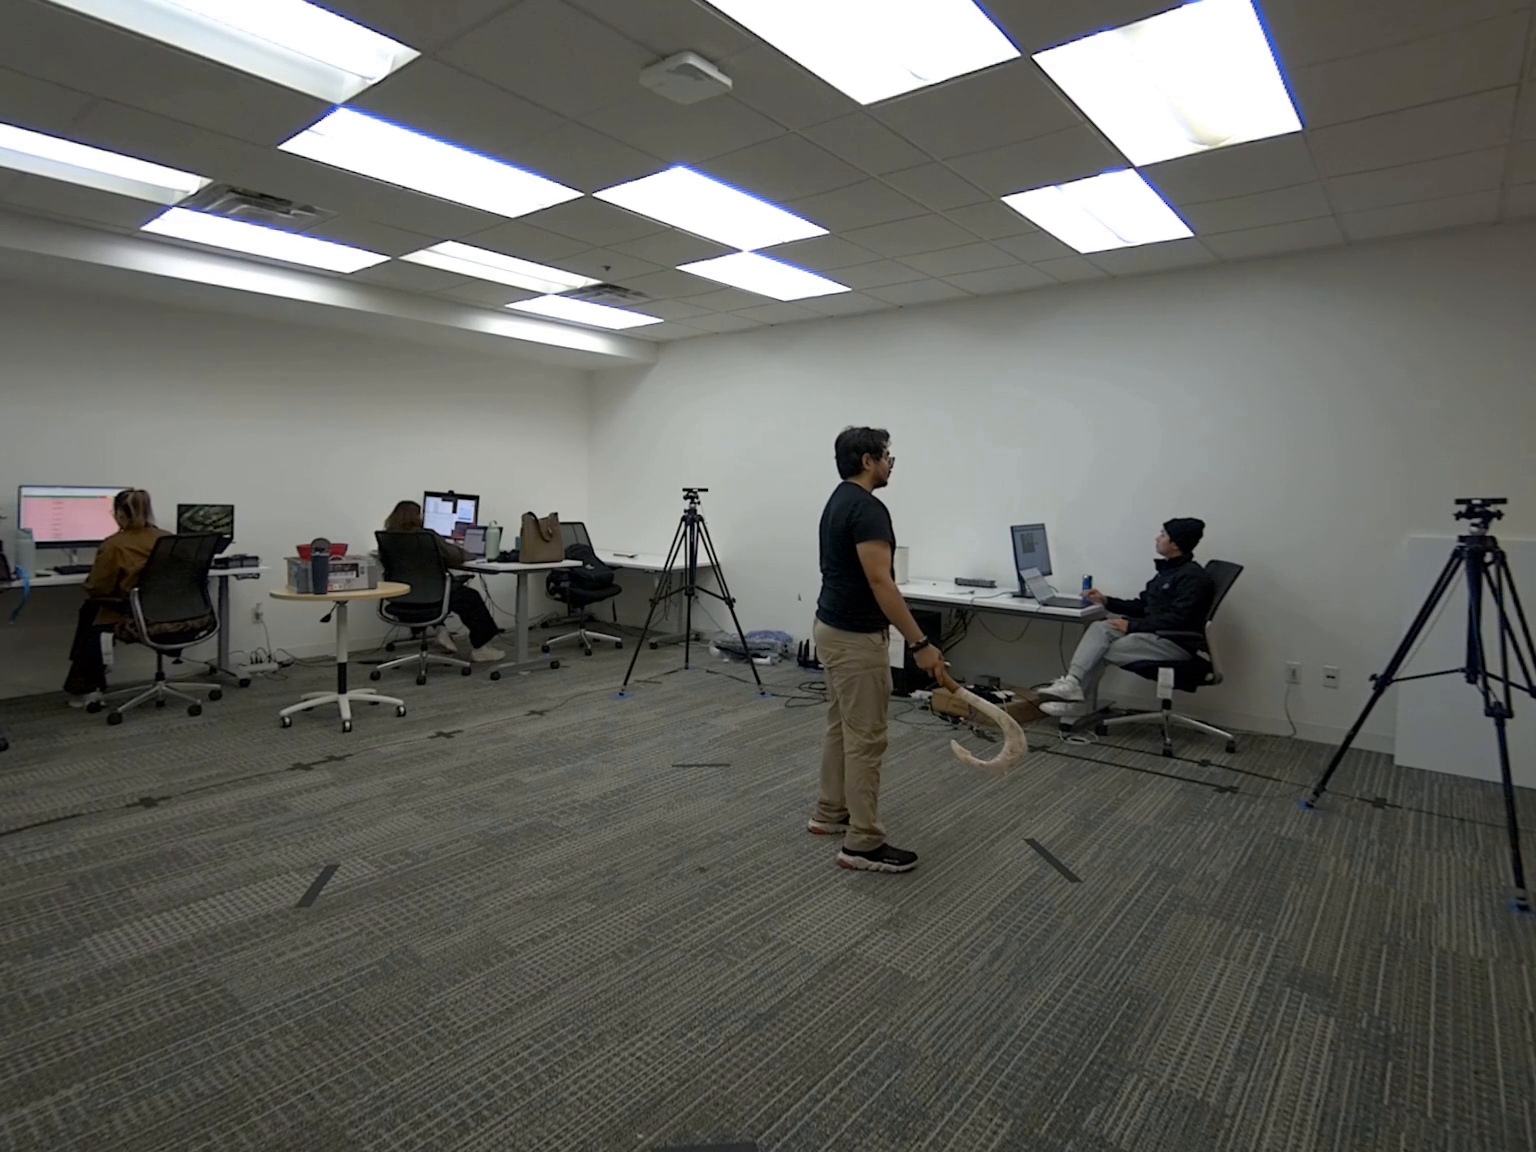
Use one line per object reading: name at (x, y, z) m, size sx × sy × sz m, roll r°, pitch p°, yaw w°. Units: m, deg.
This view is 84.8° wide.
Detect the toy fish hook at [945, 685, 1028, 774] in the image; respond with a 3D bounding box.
toy fish hook at (0.657, 0.463, 2.944) m, size 0.224 × 0.524 × 0.047 m, roll -38°, pitch -27°, yaw -12°
